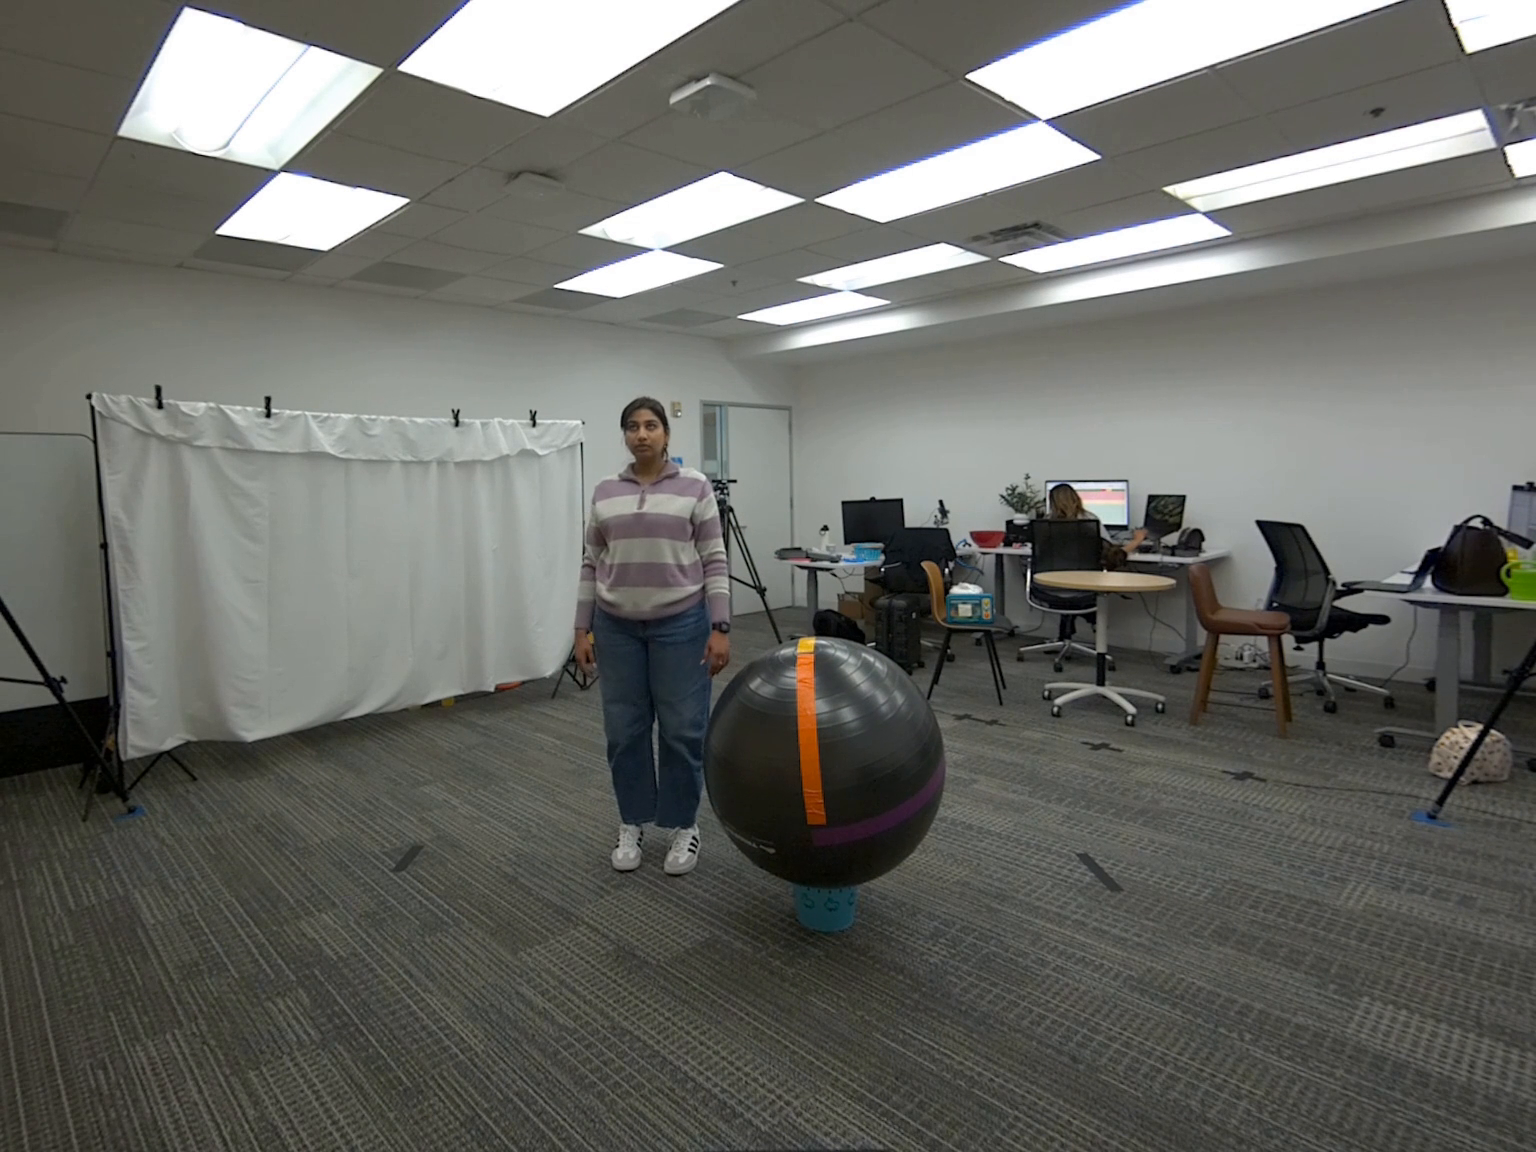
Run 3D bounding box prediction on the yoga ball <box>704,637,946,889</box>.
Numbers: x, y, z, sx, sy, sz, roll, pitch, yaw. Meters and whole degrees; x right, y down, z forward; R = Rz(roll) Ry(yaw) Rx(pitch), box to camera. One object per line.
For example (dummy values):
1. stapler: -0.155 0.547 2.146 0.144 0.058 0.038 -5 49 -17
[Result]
1. yoga ball: 0.186 0.587 2.672 0.757 0.755 0.762 -1 5 -2
